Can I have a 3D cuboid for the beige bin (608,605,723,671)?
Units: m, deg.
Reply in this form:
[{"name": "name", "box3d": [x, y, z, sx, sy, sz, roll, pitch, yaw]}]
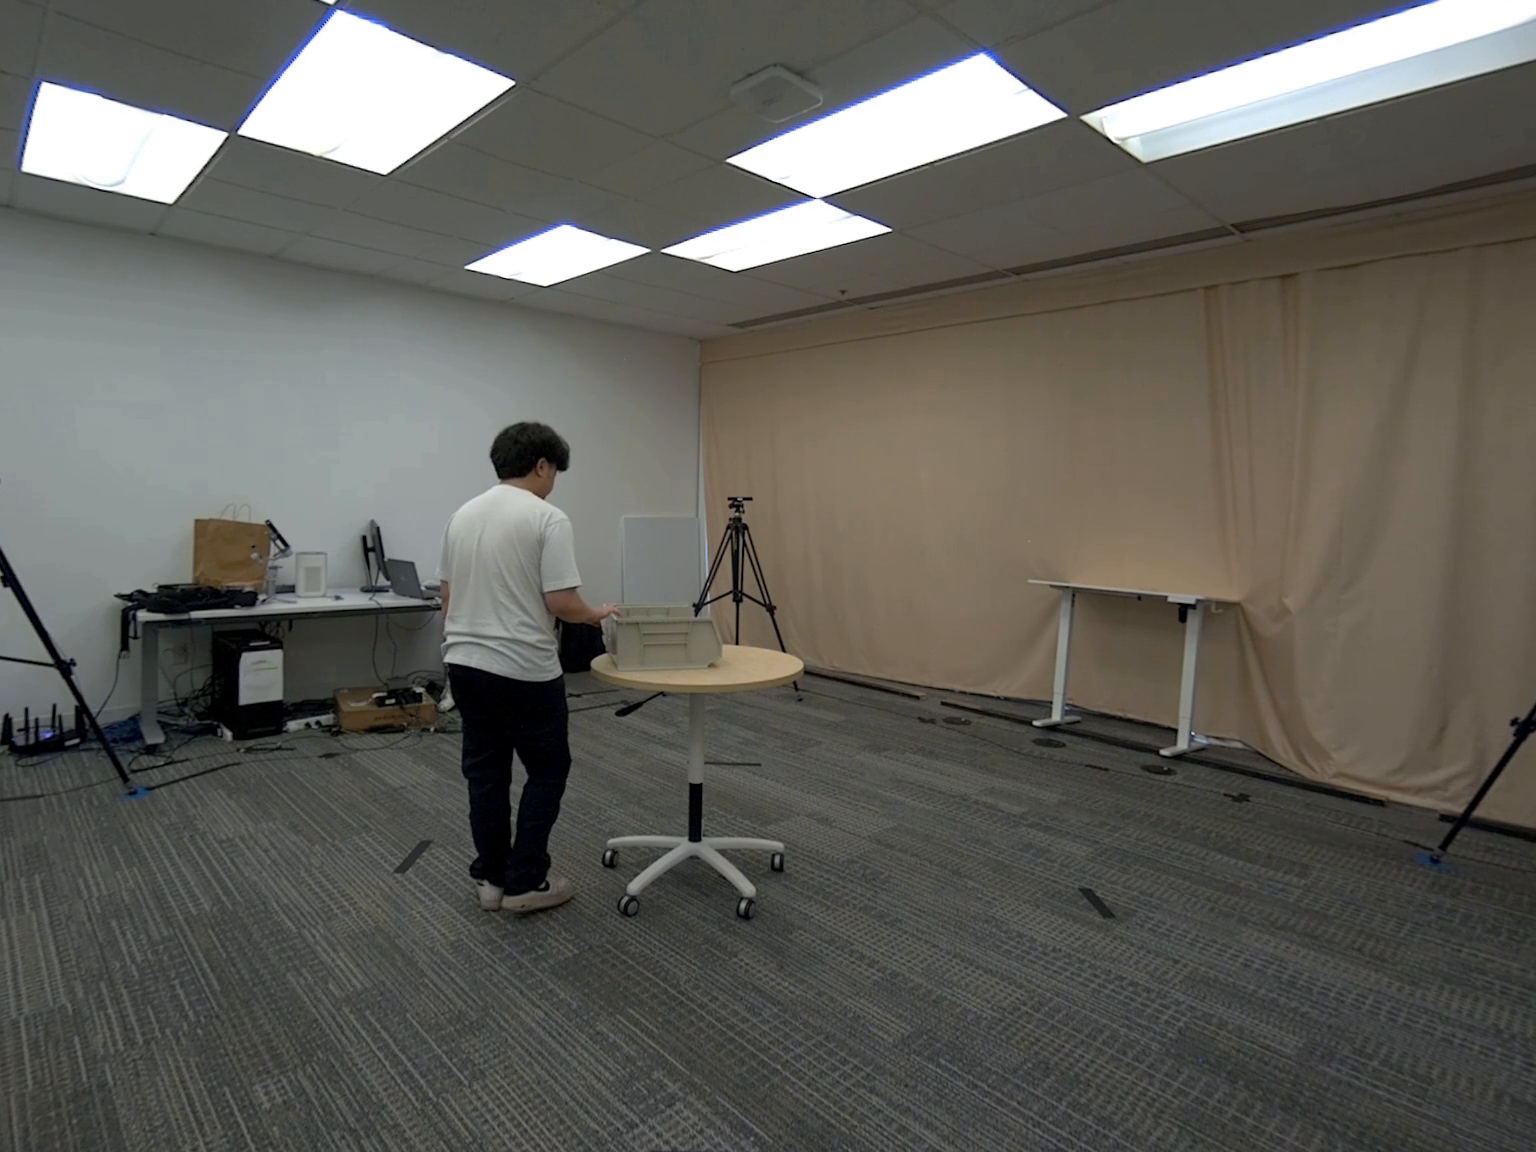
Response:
[{"name": "beige bin", "box3d": [-0.404, 0.221, 3.093, 0.373, 0.188, 0.428, -1, 5, -14]}]
